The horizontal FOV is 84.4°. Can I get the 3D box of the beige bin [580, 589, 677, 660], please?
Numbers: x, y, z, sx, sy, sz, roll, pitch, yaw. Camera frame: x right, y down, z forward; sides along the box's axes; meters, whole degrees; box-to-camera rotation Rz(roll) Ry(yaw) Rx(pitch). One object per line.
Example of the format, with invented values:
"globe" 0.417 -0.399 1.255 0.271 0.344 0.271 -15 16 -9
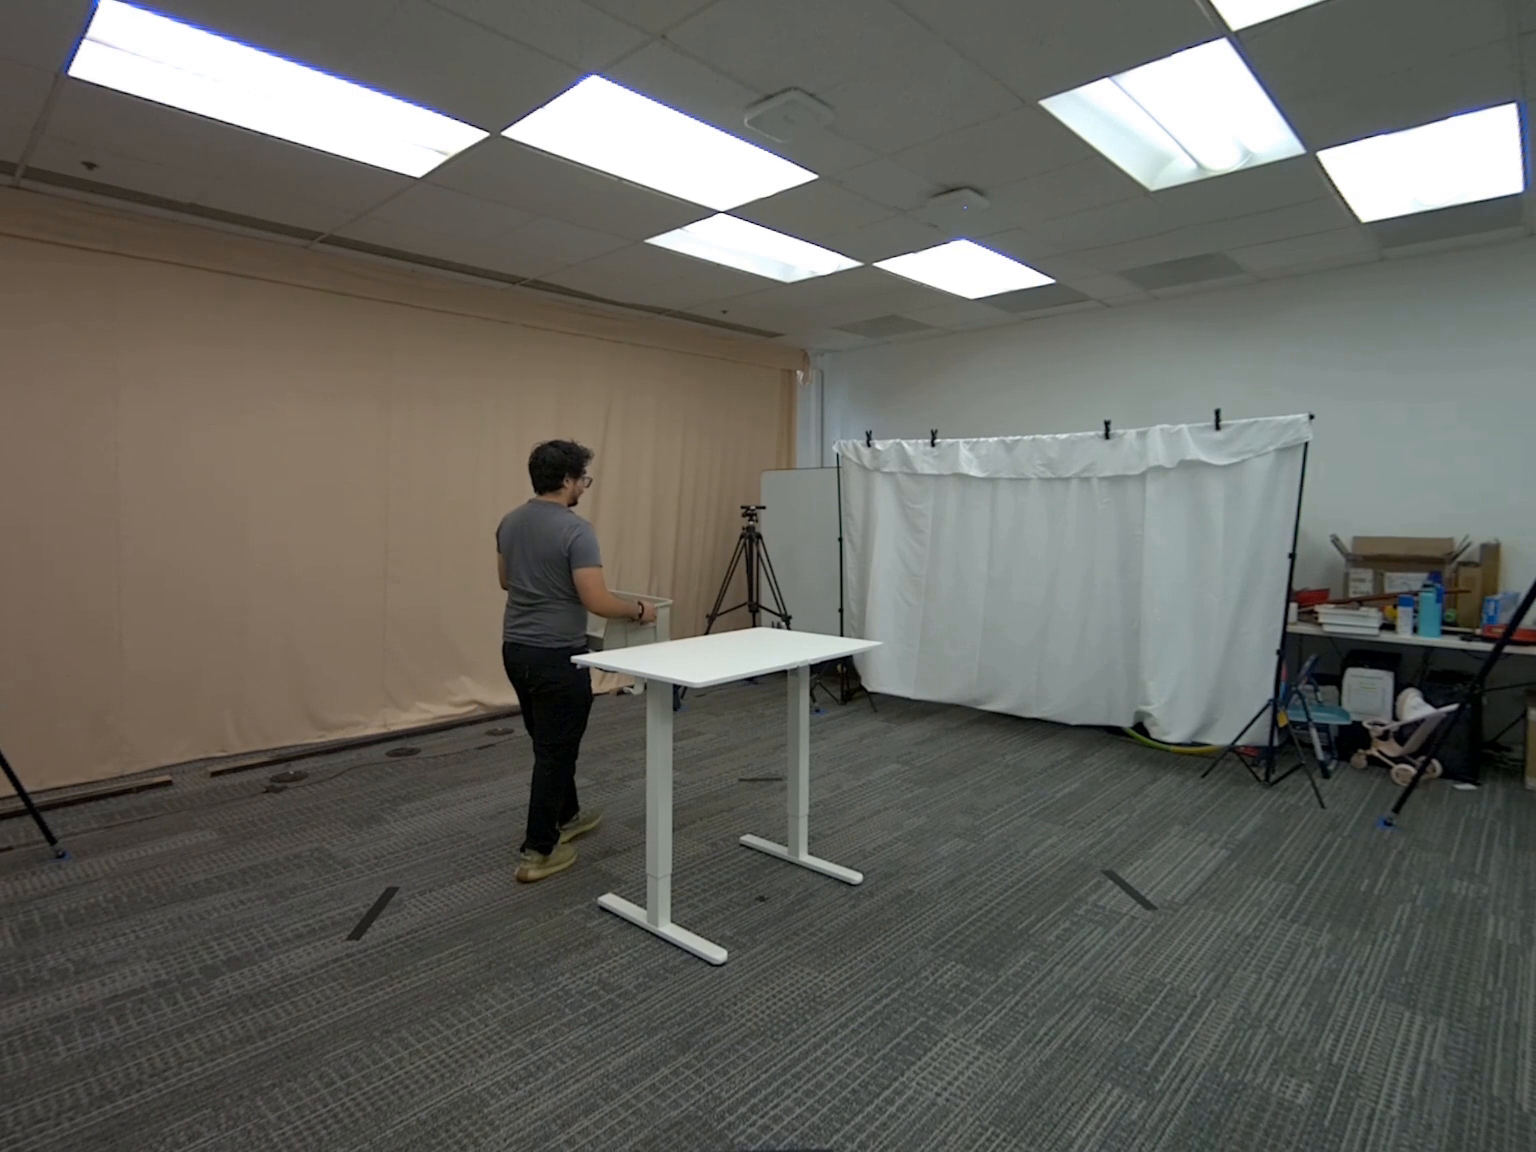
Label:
"beige bin" -0.666 0.188 3.496 0.436 0.188 0.366 5 9 41
